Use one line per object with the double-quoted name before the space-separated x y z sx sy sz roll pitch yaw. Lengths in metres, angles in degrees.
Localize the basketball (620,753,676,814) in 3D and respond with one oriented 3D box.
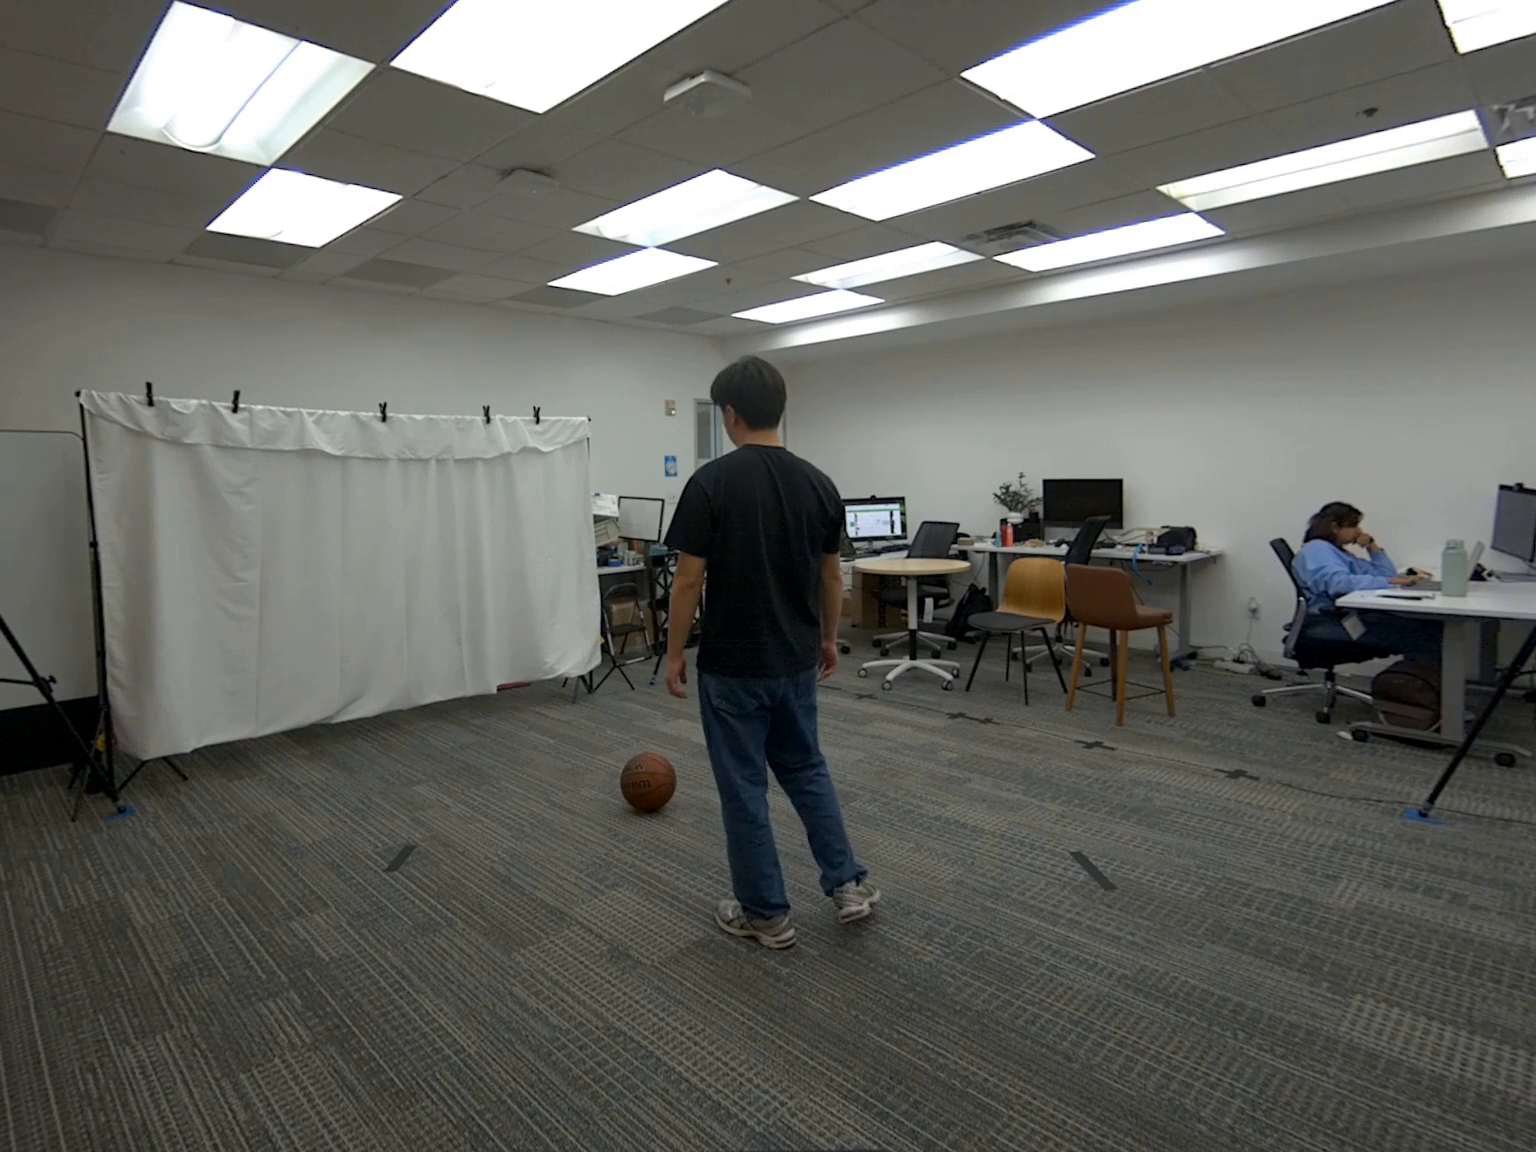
"basketball" -0.507 0.872 3.626 0.236 0.235 0.237 -1 5 -2
